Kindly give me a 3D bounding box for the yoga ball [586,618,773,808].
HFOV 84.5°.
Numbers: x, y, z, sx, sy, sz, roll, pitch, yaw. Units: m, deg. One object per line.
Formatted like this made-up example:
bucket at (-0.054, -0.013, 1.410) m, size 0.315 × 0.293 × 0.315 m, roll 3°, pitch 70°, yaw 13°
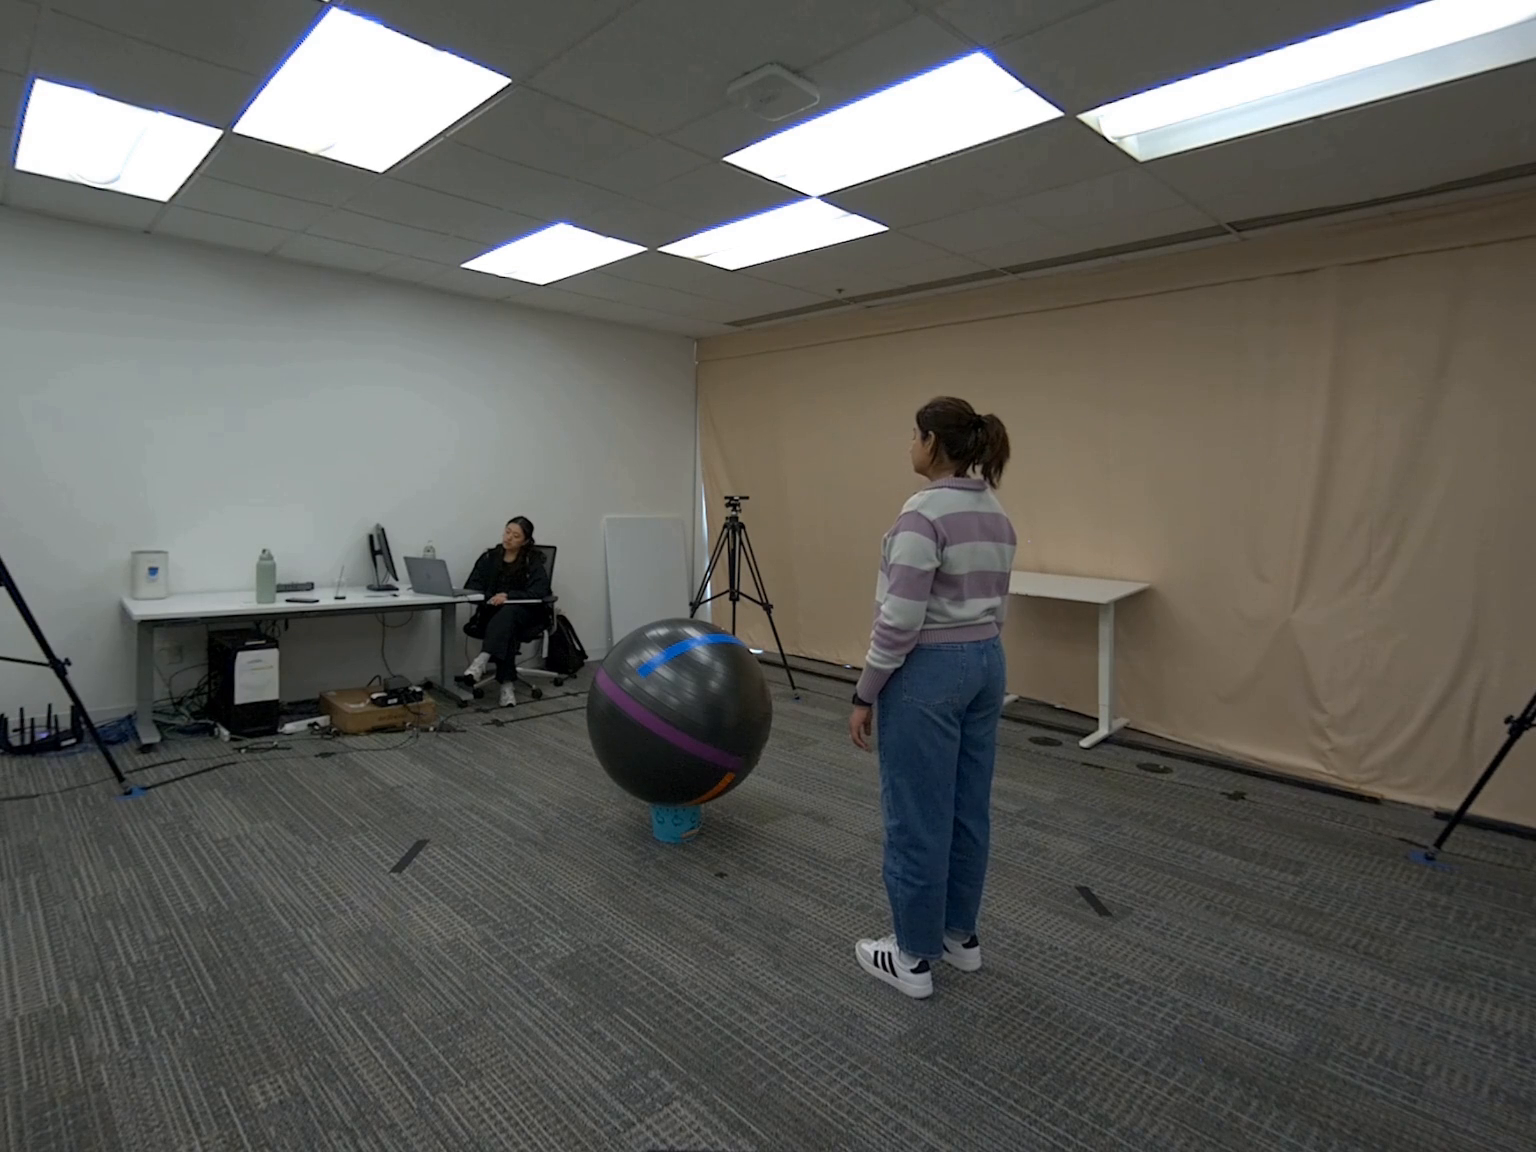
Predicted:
yoga ball at (-0.368, 0.558, 3.468) m, size 0.757 × 0.756 × 0.761 m, roll 1°, pitch 4°, yaw -1°
